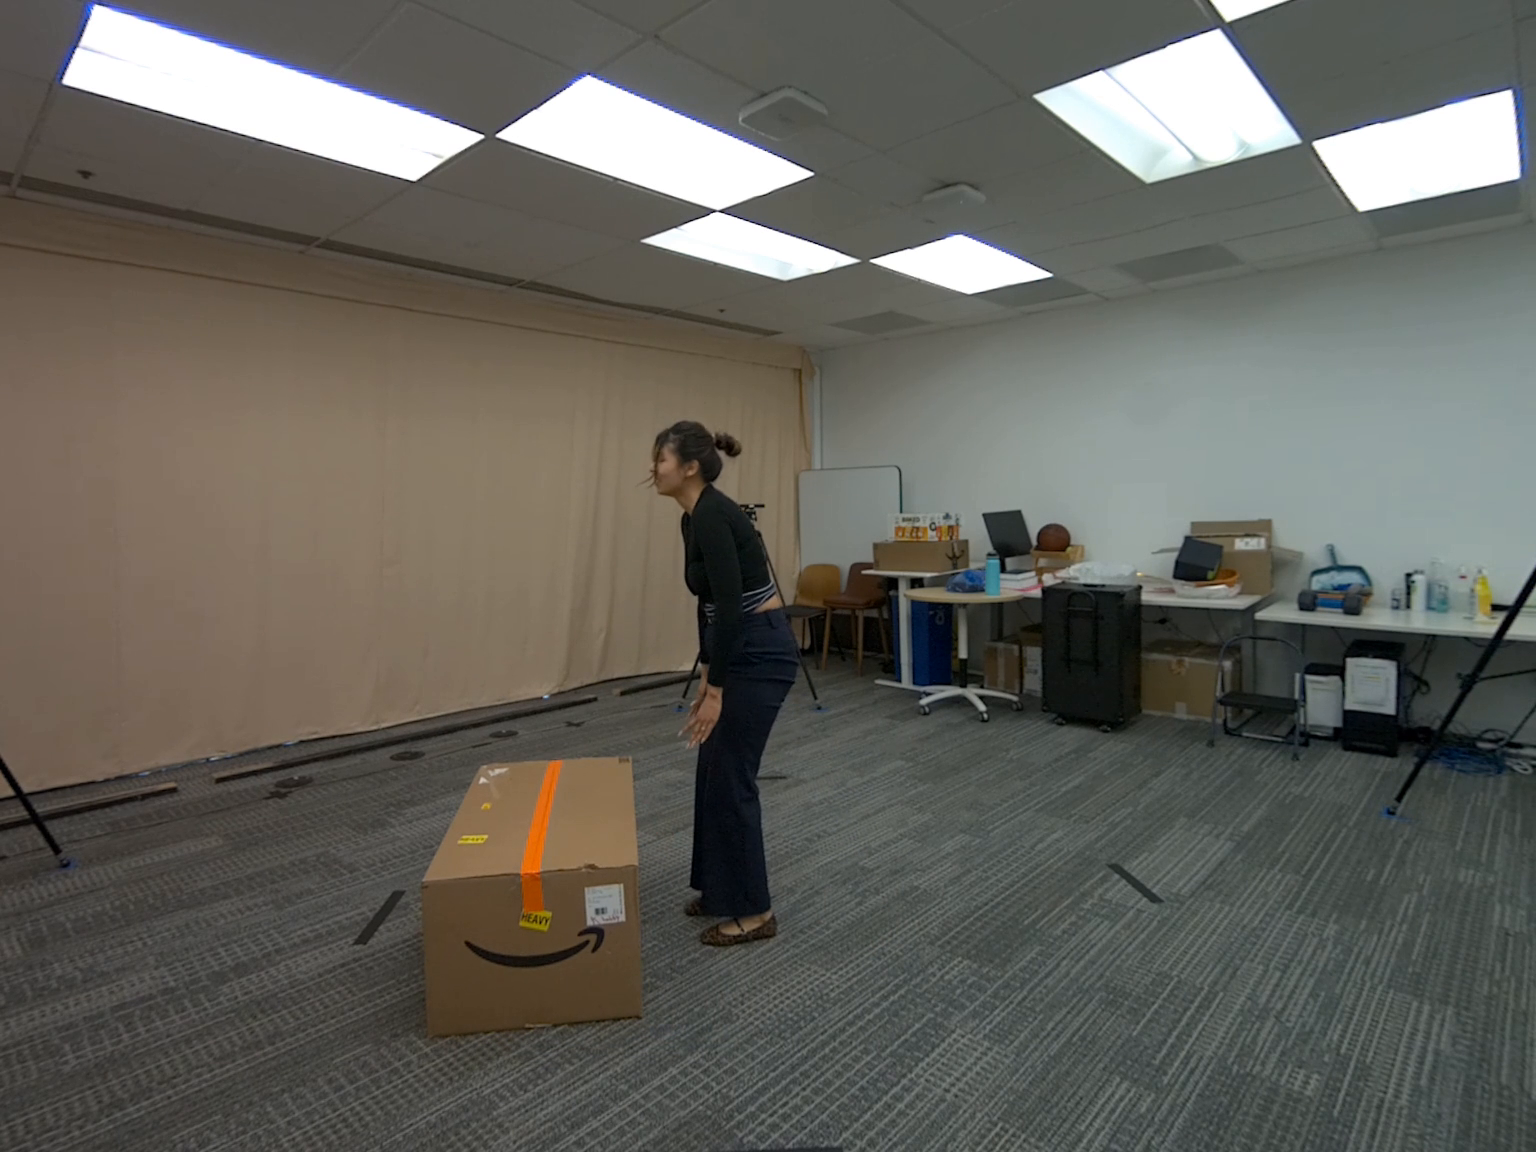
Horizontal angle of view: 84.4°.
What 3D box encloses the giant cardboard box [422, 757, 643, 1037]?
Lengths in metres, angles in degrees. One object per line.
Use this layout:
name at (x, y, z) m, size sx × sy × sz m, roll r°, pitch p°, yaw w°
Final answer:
giant cardboard box at (-0.717, 0.955, 2.750) m, size 0.572 × 0.425 × 1.038 m, roll -1°, pitch 4°, yaw -10°
